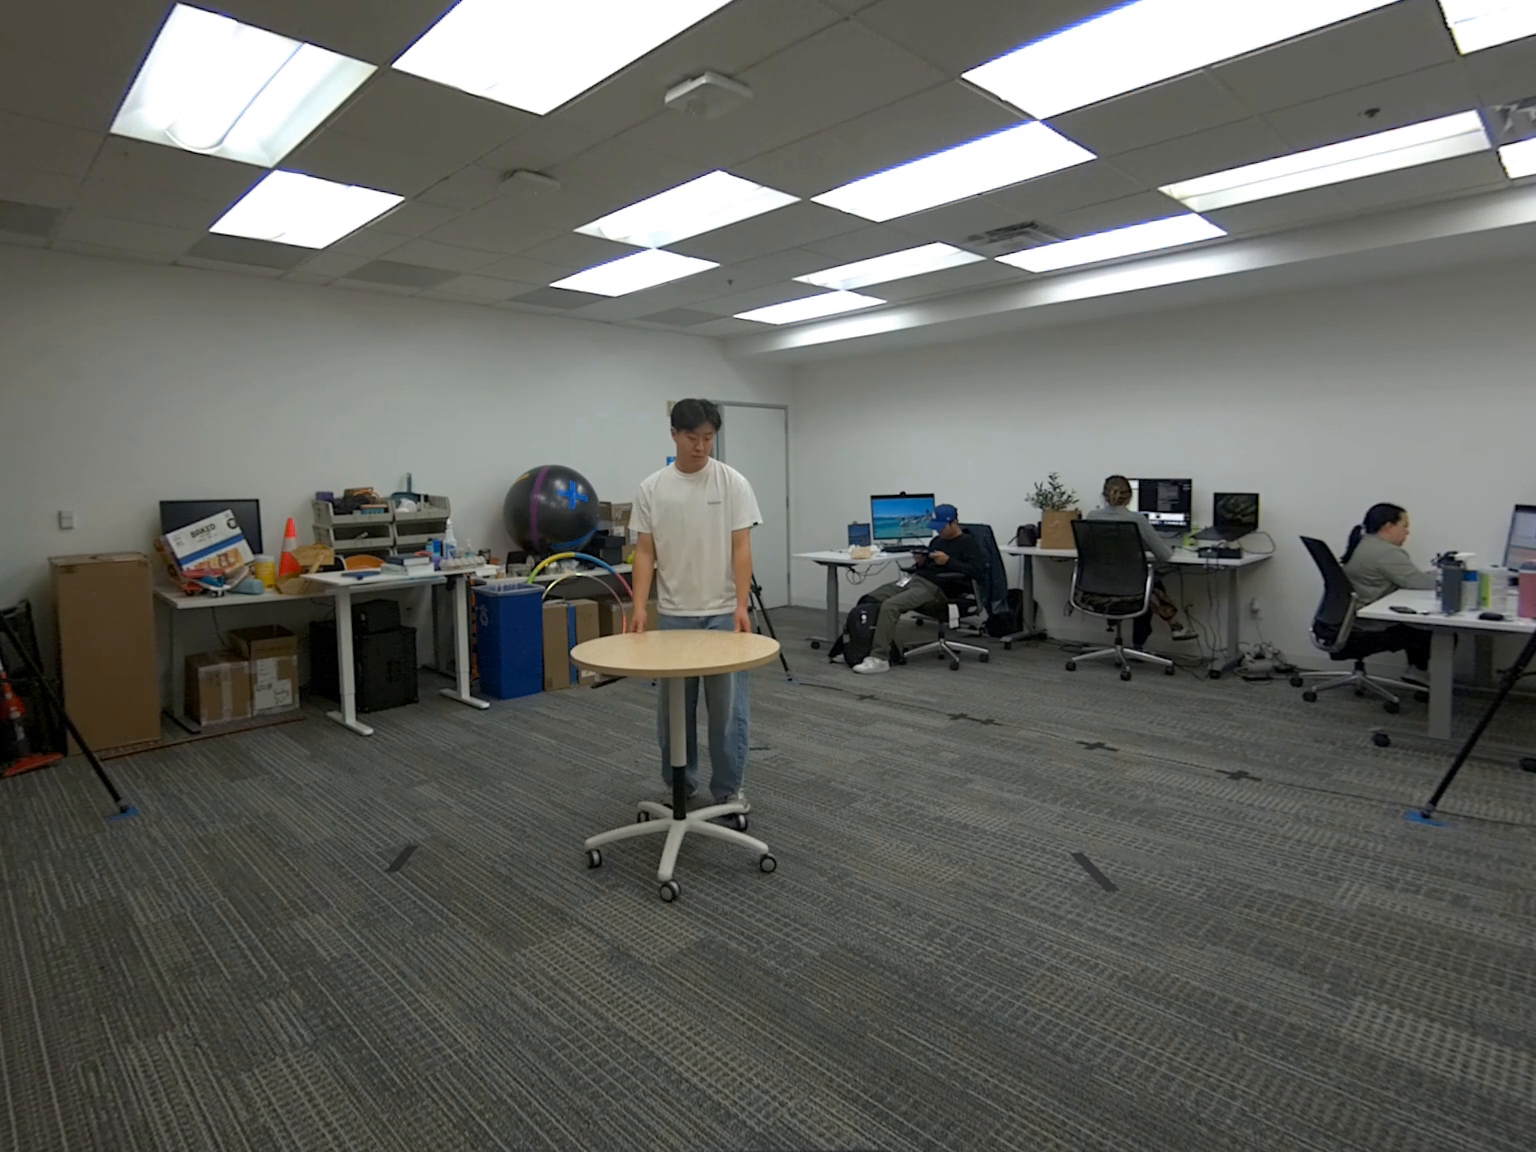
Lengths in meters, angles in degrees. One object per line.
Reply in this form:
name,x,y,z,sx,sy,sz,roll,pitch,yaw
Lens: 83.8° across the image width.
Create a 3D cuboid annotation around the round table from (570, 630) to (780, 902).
round table,-0.327,0.658,3.165,0.763,0.791,0.768,-2,5,-2
